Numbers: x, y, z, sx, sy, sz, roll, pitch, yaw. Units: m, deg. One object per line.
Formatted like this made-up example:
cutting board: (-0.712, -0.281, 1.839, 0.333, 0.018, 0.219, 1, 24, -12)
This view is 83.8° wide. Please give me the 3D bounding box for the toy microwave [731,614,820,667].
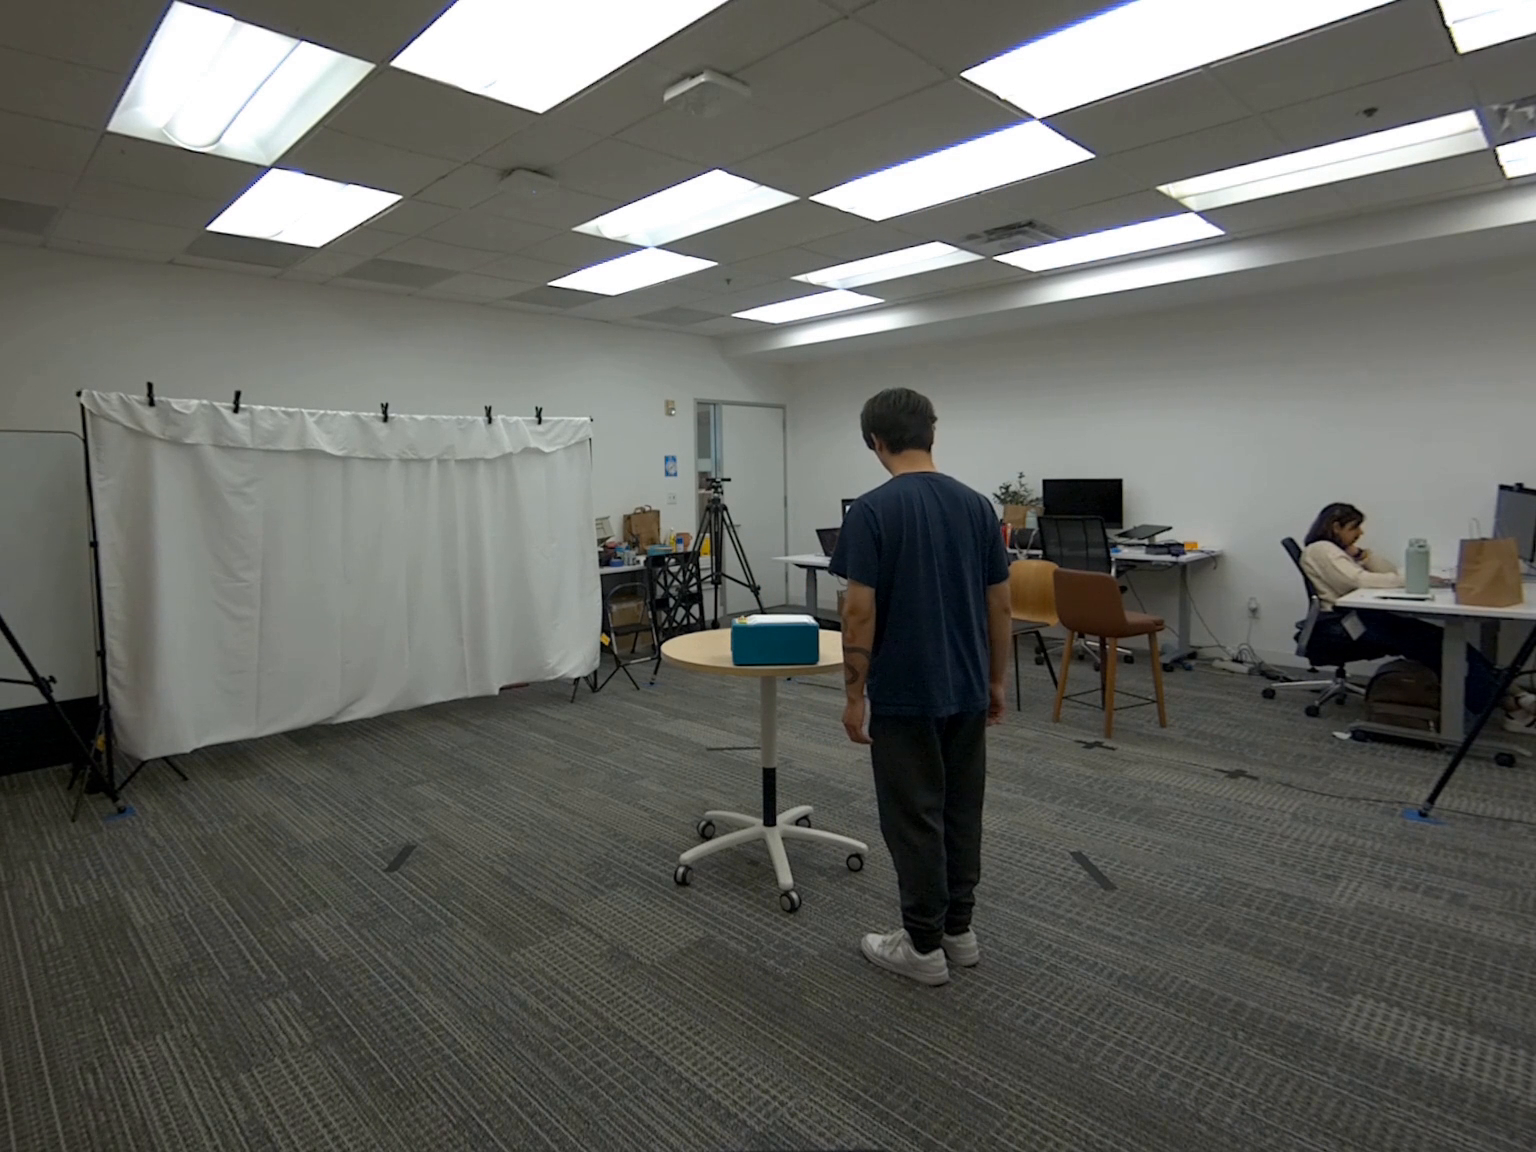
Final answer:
toy microwave: (0.025, 0.201, 2.803, 0.286, 0.152, 0.184, 0, 3, 0)
